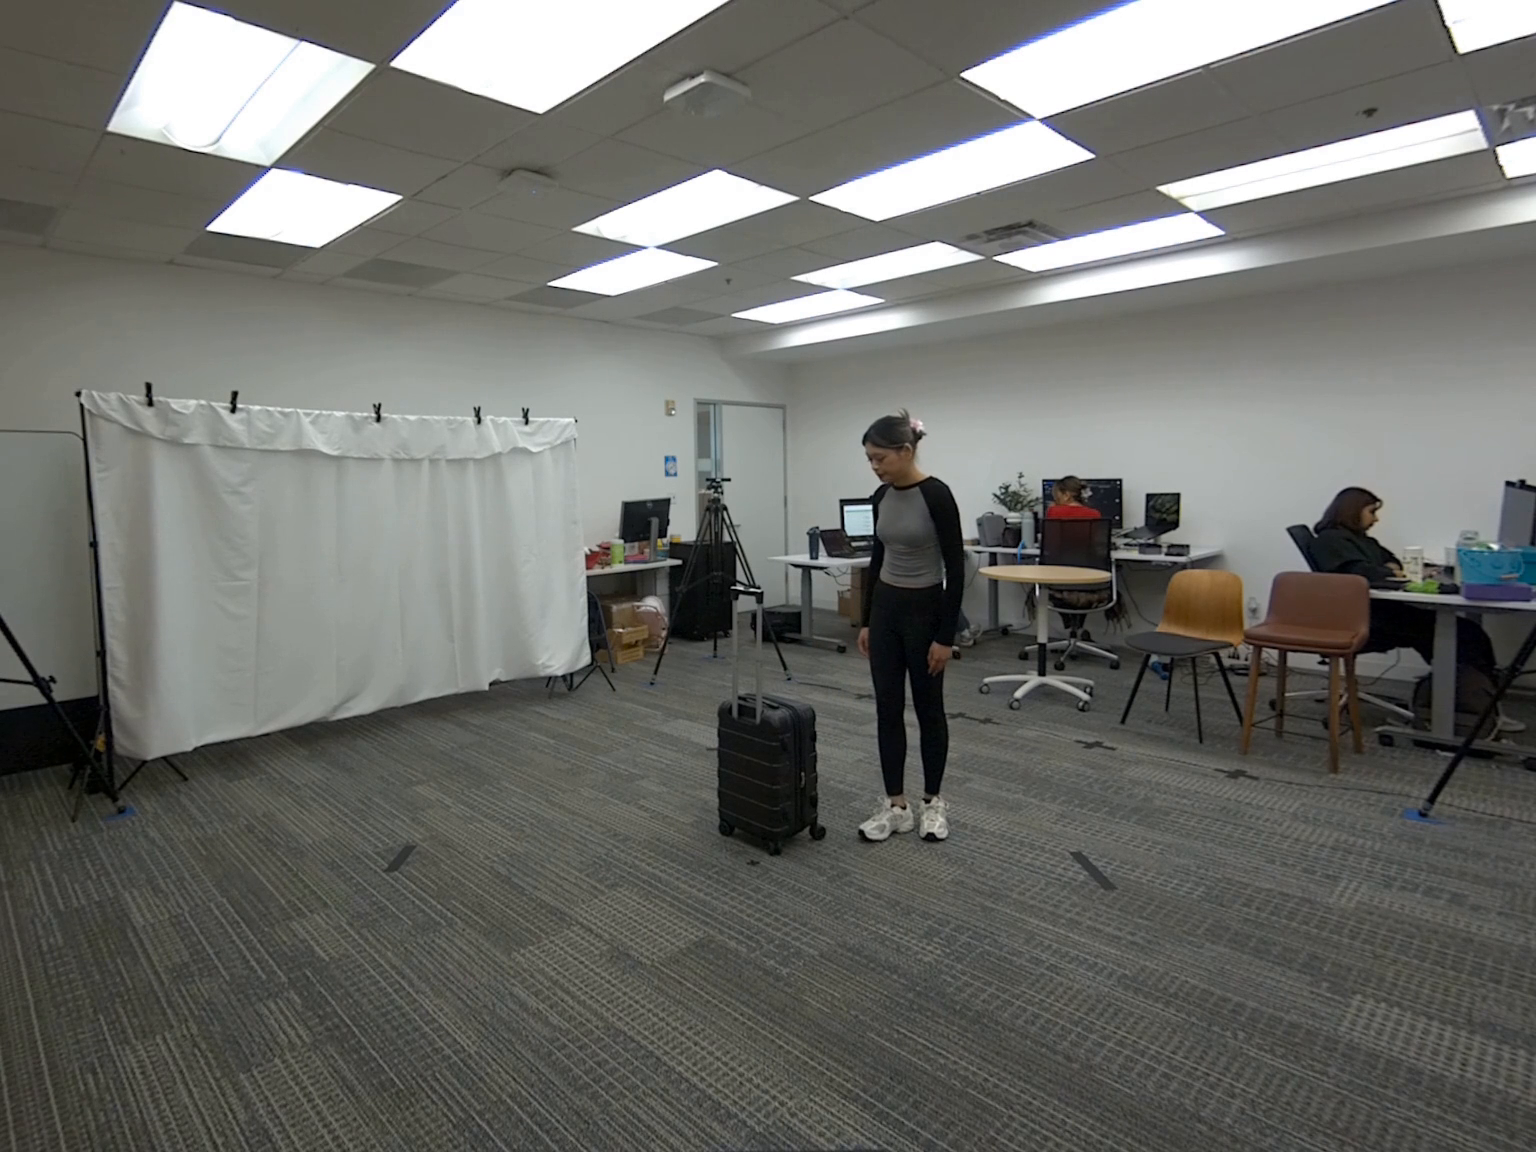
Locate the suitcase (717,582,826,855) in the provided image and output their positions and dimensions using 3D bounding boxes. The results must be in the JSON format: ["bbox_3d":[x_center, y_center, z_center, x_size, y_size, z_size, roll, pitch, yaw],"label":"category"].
[{"bbox_3d":[-0.002,0.537,3.312,0.396,0.976,0.250,3,3,41],"label":"suitcase"}]
